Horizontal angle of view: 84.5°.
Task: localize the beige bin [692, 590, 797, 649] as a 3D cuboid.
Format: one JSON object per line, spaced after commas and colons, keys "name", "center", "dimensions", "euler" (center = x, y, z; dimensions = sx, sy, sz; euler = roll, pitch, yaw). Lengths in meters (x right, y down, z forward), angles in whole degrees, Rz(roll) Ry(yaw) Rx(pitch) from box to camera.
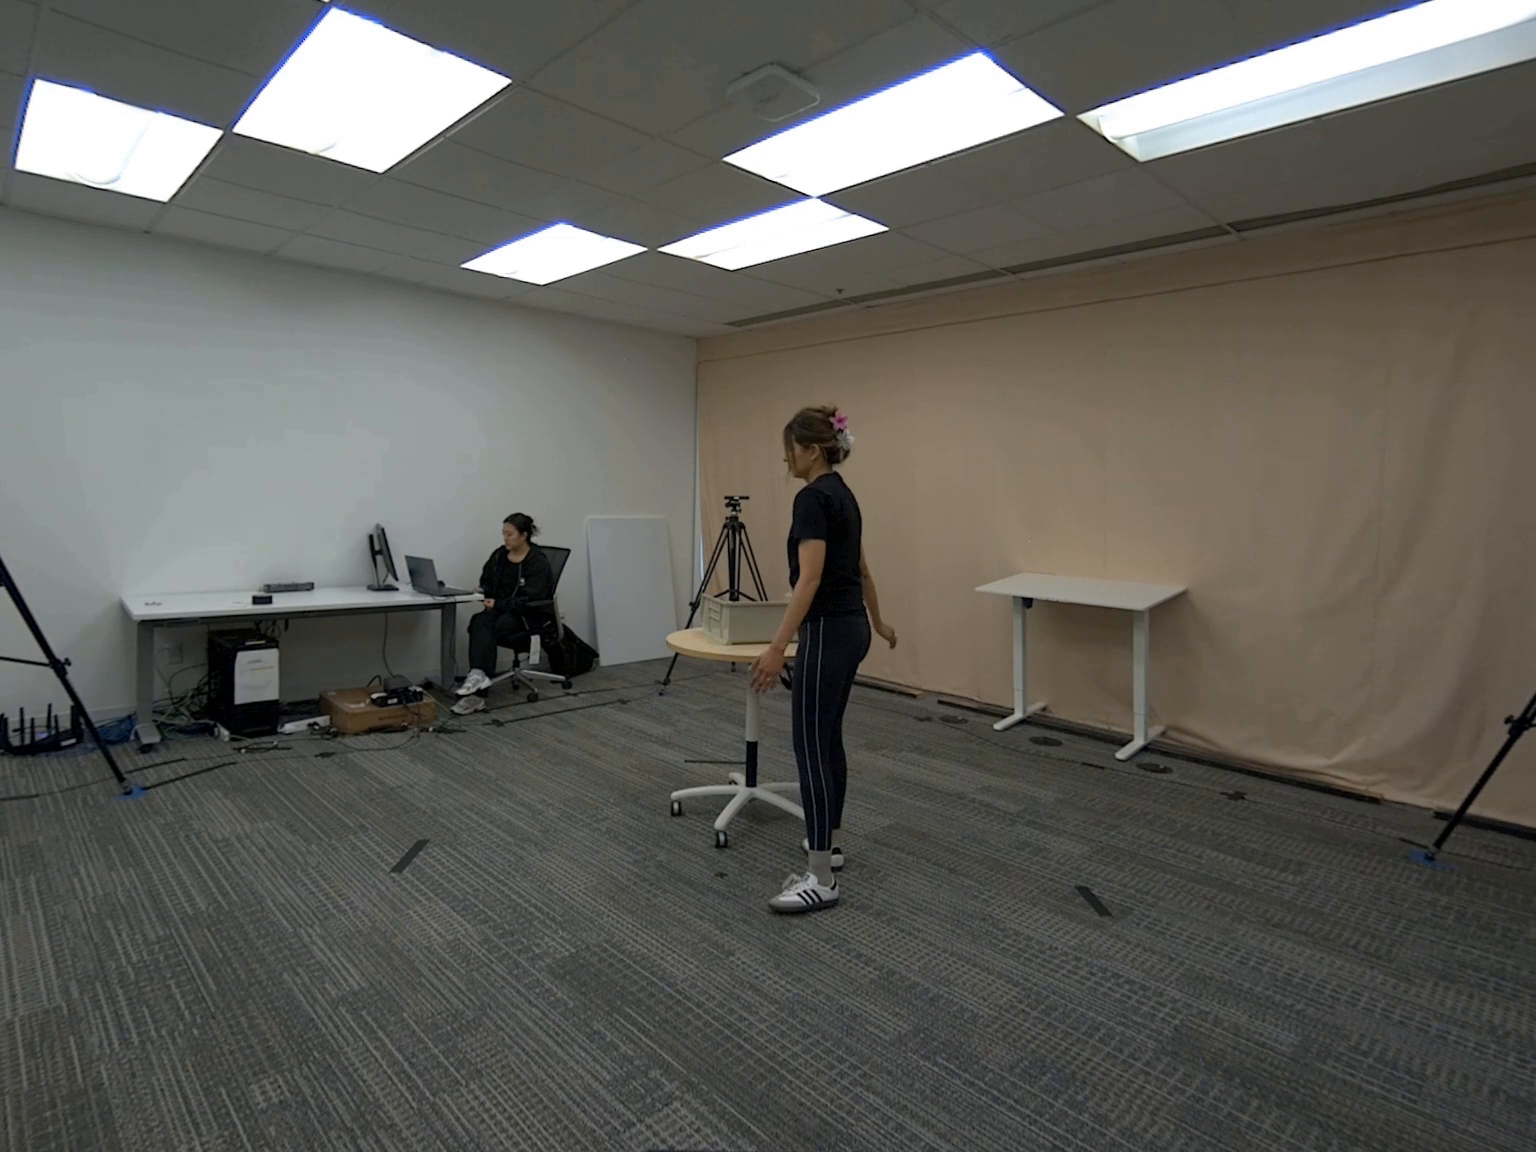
{"name": "beige bin", "center": [-0.073, 0.182, 3.705], "dimensions": [0.416, 0.188, 0.384], "euler": [1, 6, -20]}
